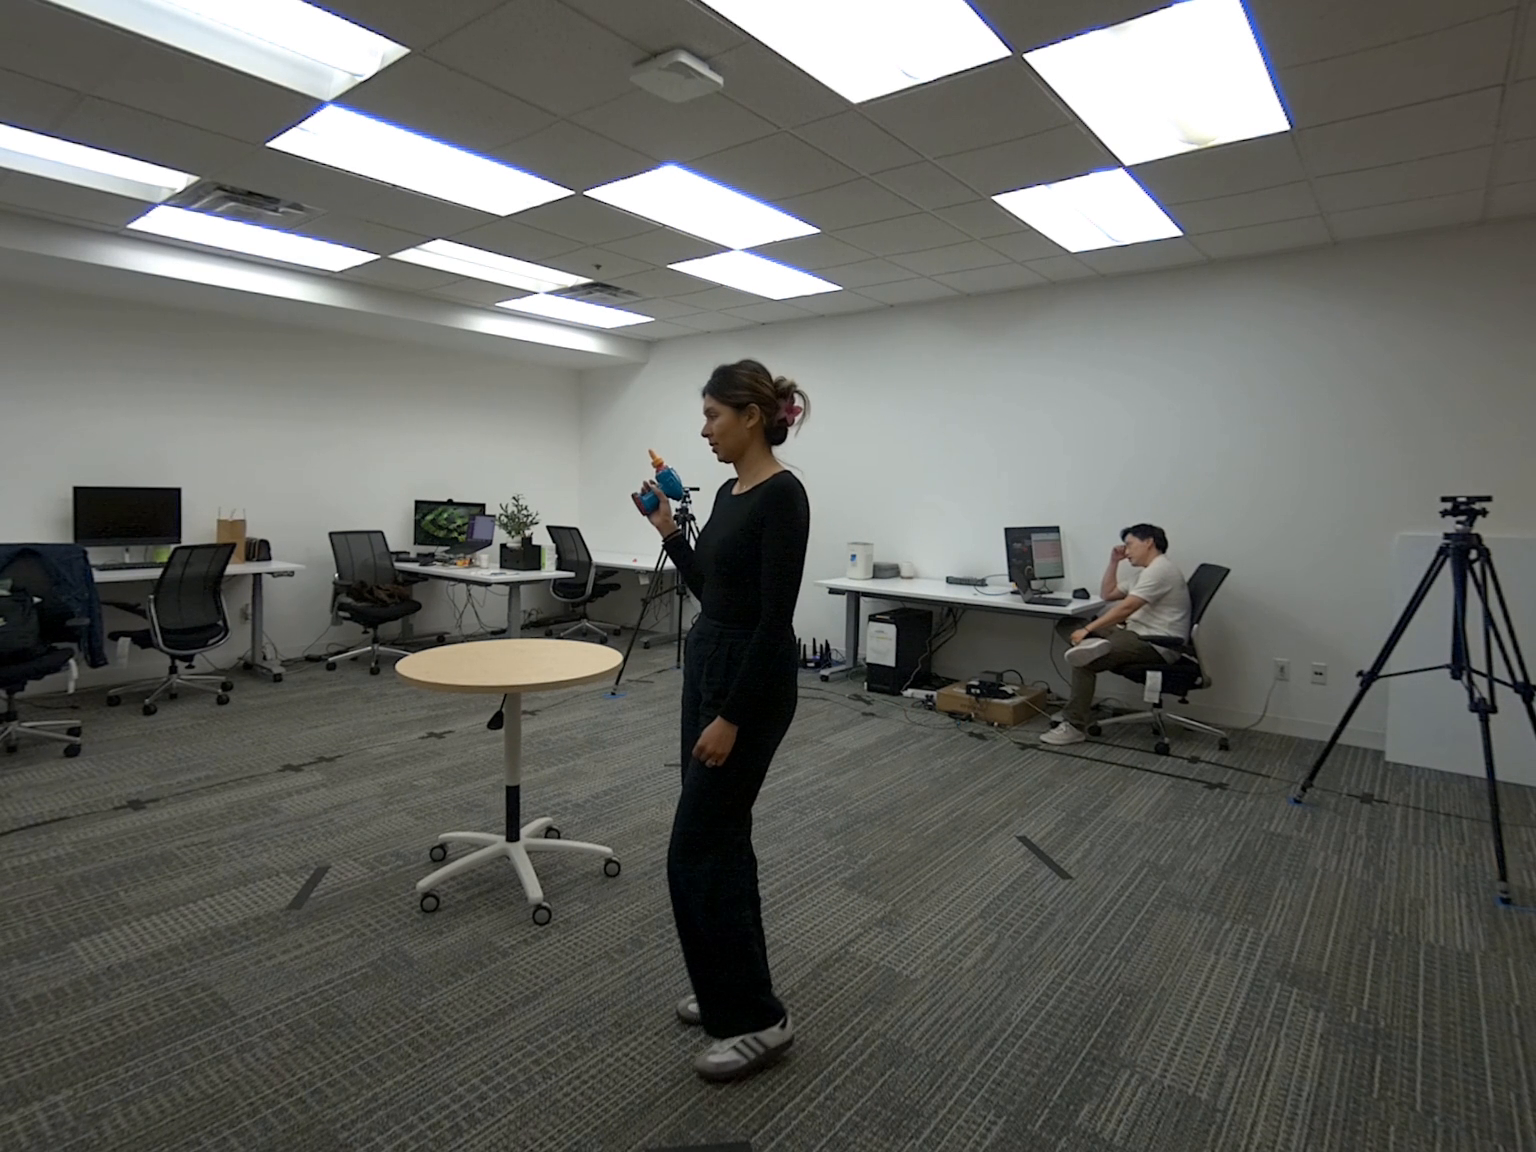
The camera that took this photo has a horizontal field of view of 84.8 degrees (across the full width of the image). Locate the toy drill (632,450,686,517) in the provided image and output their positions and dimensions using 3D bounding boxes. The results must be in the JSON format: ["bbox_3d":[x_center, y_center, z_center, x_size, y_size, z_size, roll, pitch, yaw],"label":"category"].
[{"bbox_3d":[-0.330,-0.266,2.386,0.145,0.170,0.061,-31,1,-13],"label":"toy drill"}]
